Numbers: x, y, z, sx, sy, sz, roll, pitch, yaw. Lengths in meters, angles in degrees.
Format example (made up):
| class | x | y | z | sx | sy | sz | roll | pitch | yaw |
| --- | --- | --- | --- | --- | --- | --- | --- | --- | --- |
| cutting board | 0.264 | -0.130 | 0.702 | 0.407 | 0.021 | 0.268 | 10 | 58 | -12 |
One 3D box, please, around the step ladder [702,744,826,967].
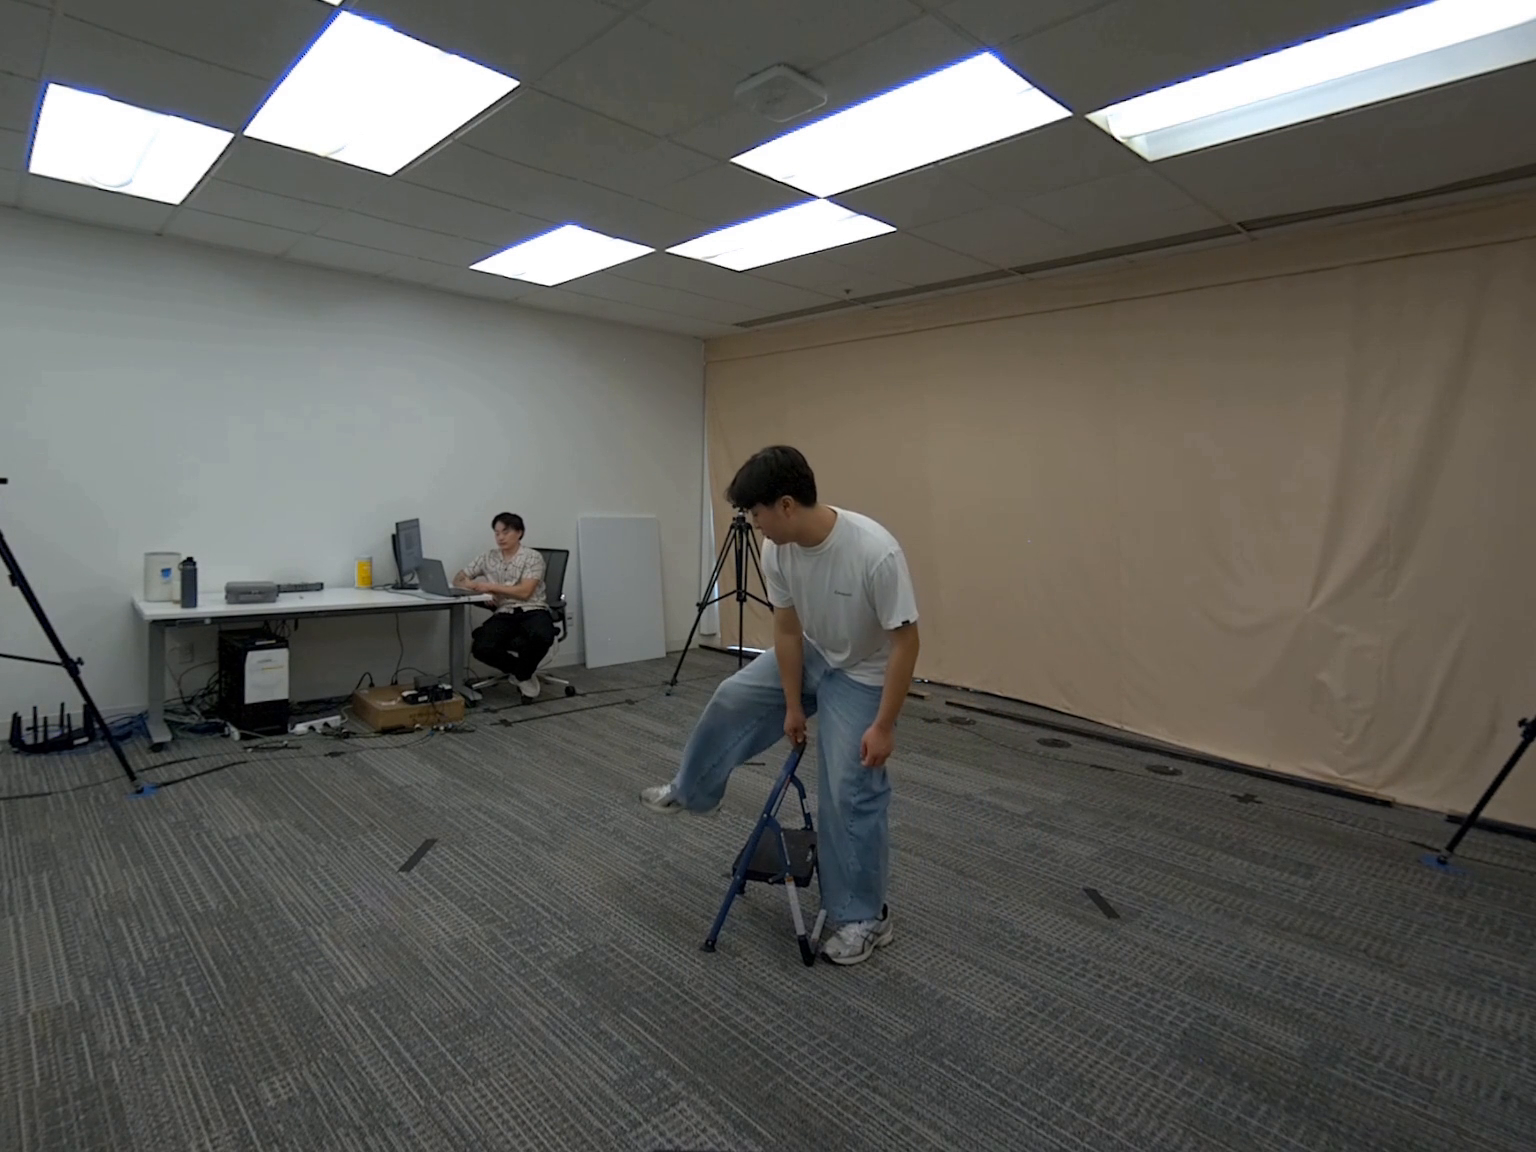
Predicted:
| class | x | y | z | sx | sy | sz | roll | pitch | yaw |
| --- | --- | --- | --- | --- | --- | --- | --- | --- | --- |
| step ladder | 0.012 | 0.841 | 2.724 | 0.353 | 0.604 | 0.427 | 3 | 4 | 12 |
